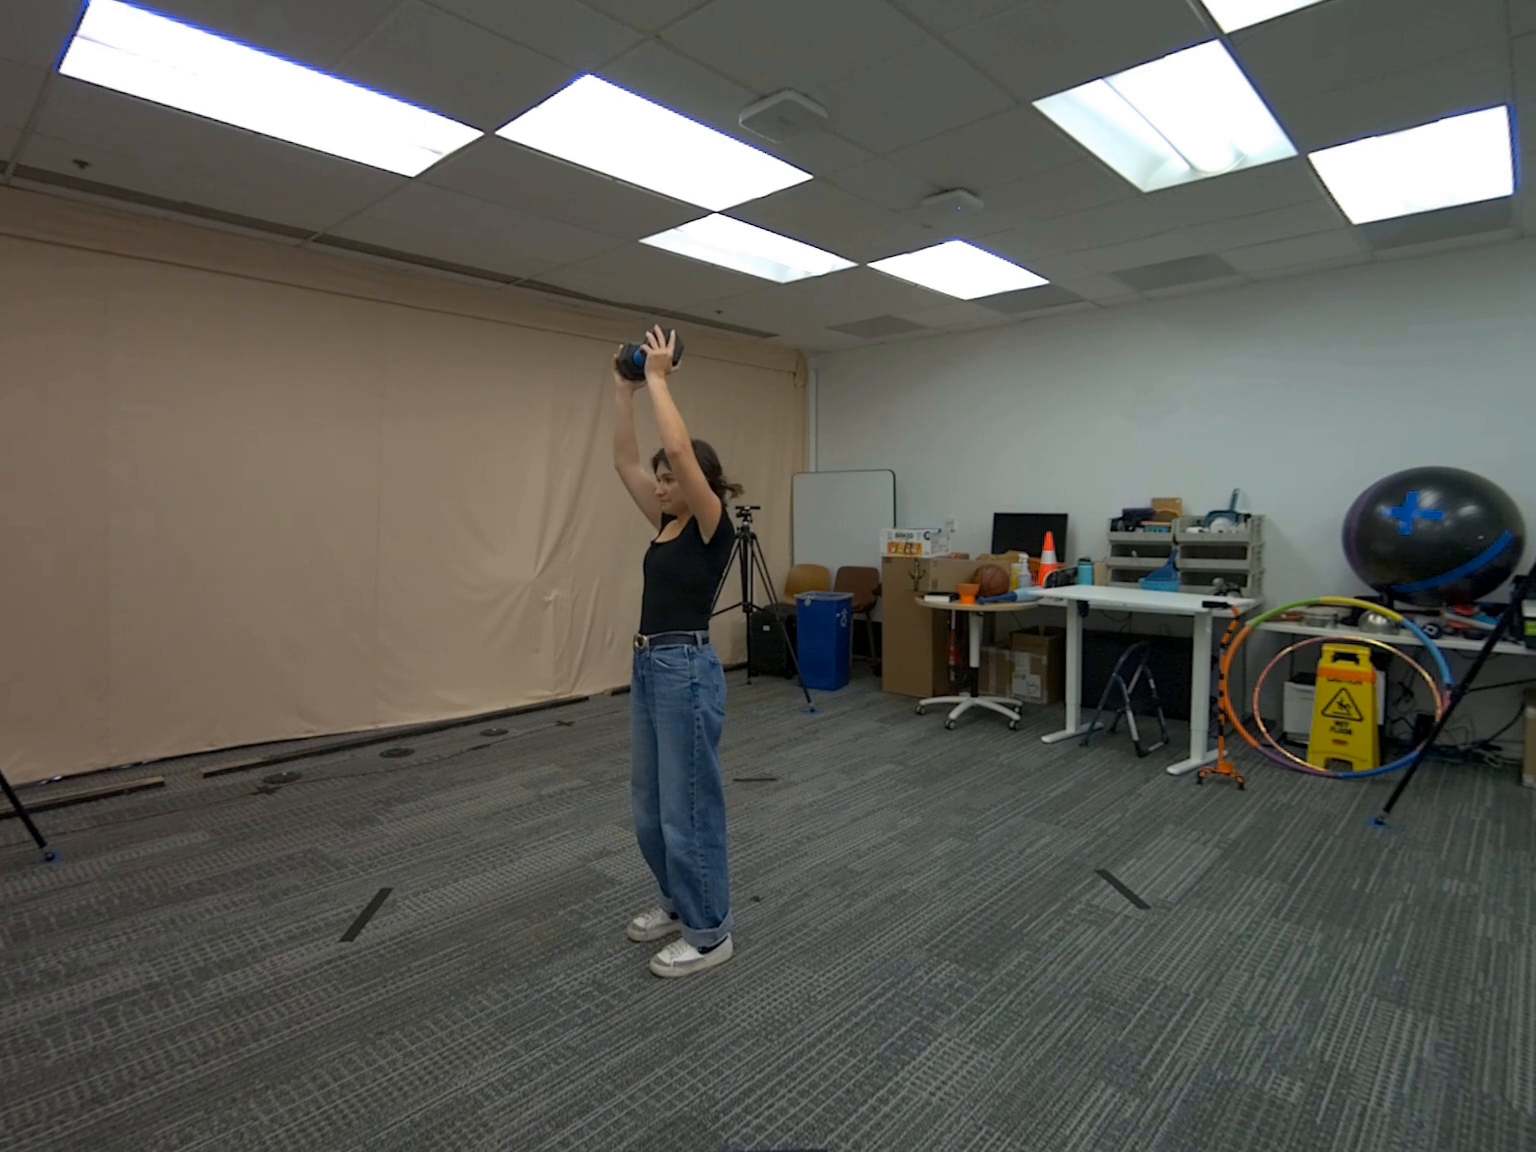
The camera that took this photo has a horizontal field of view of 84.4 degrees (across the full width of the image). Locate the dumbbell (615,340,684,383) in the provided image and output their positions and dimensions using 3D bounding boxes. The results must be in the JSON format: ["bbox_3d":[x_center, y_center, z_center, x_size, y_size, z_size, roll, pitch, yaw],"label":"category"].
[{"bbox_3d":[-0.360,-0.669,2.570,0.108,0.120,0.302,-40,22,-22],"label":"dumbbell"}]
